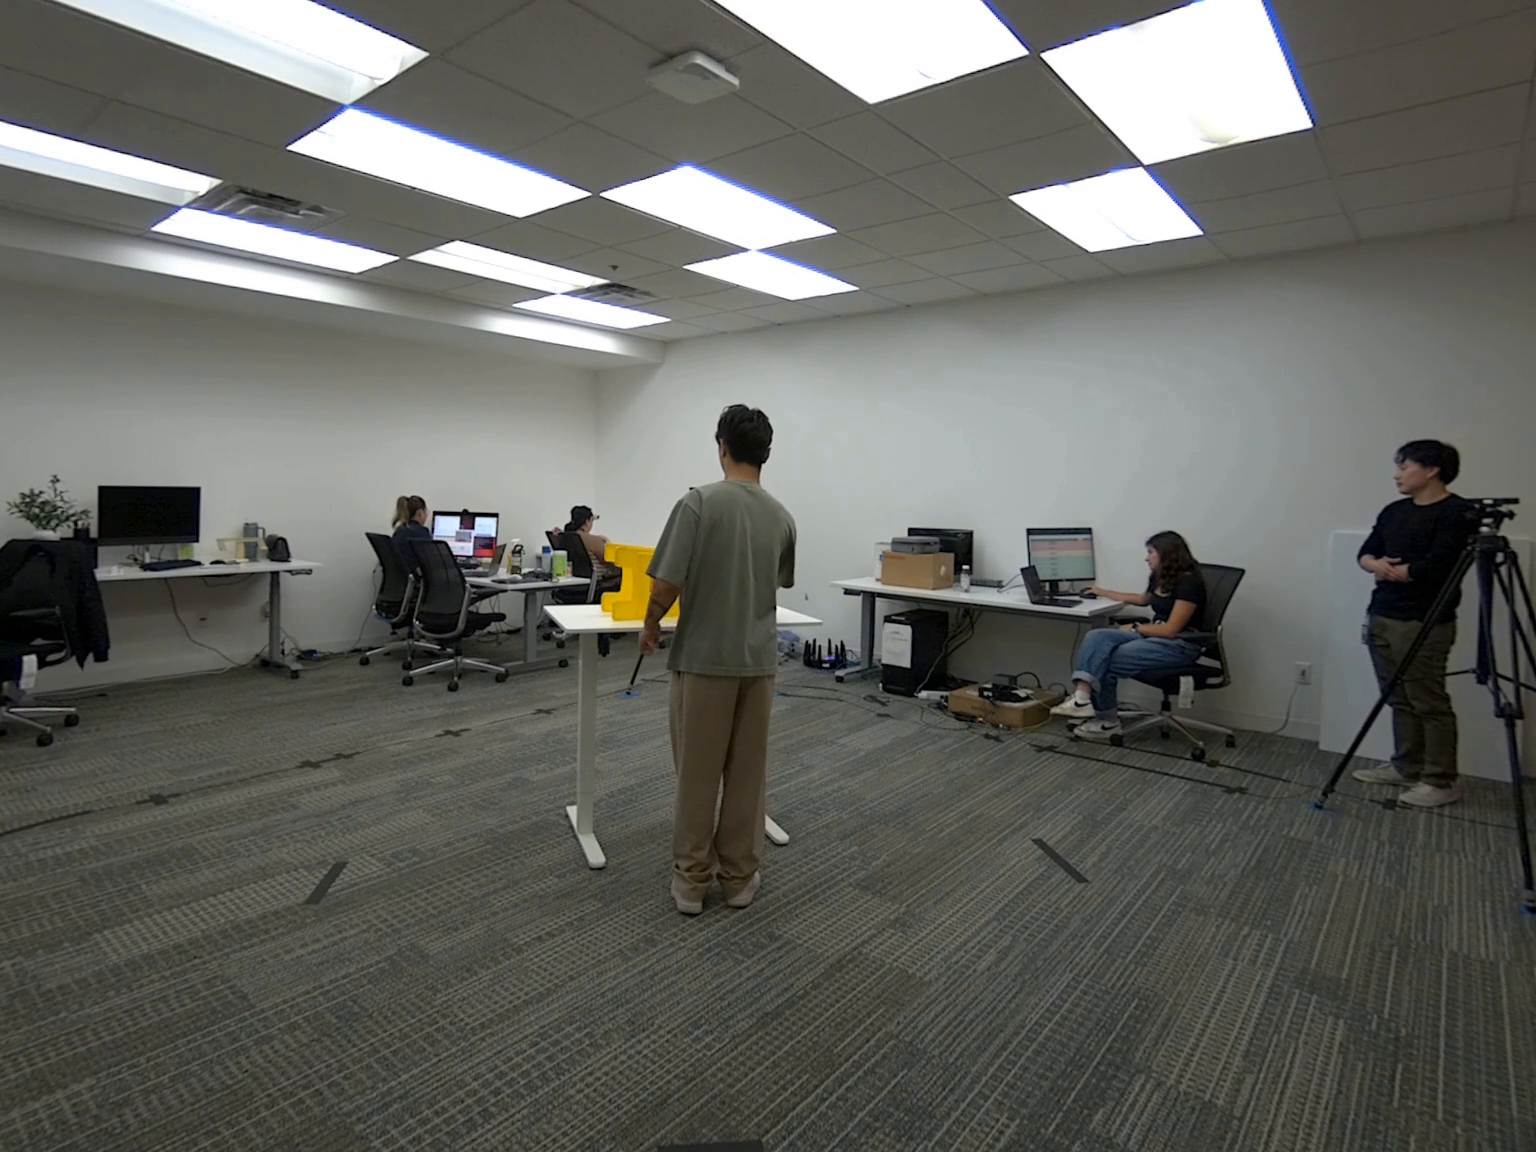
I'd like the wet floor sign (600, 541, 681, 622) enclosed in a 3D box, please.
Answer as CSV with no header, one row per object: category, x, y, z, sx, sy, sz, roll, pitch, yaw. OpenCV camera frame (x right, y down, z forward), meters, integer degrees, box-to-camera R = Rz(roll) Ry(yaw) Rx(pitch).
wet floor sign,-0.328,0.022,3.417,0.634,0.282,0.296,2,3,-18
